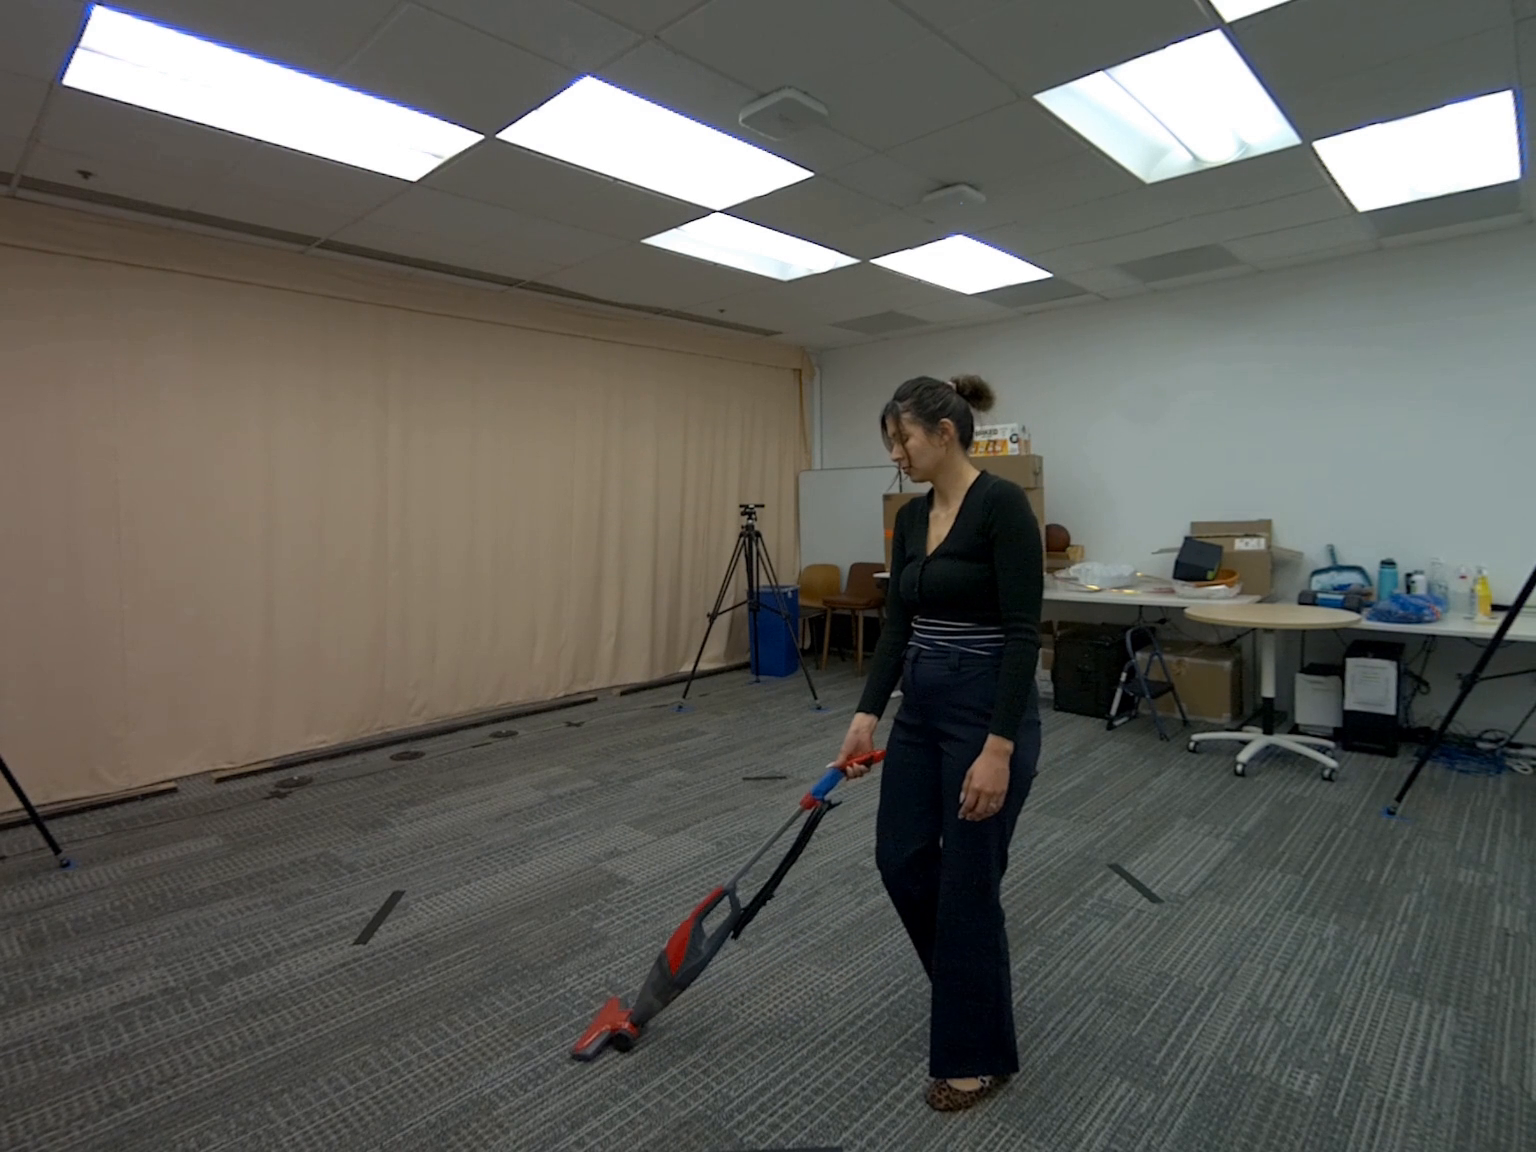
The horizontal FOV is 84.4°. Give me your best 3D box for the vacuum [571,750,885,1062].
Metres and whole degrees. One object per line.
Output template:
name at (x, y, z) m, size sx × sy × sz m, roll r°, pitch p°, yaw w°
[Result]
vacuum at (-0.087, 0.814, 2.109) m, size 0.146 × 1.052 × 0.249 m, roll 41°, pitch 13°, yaw 8°
